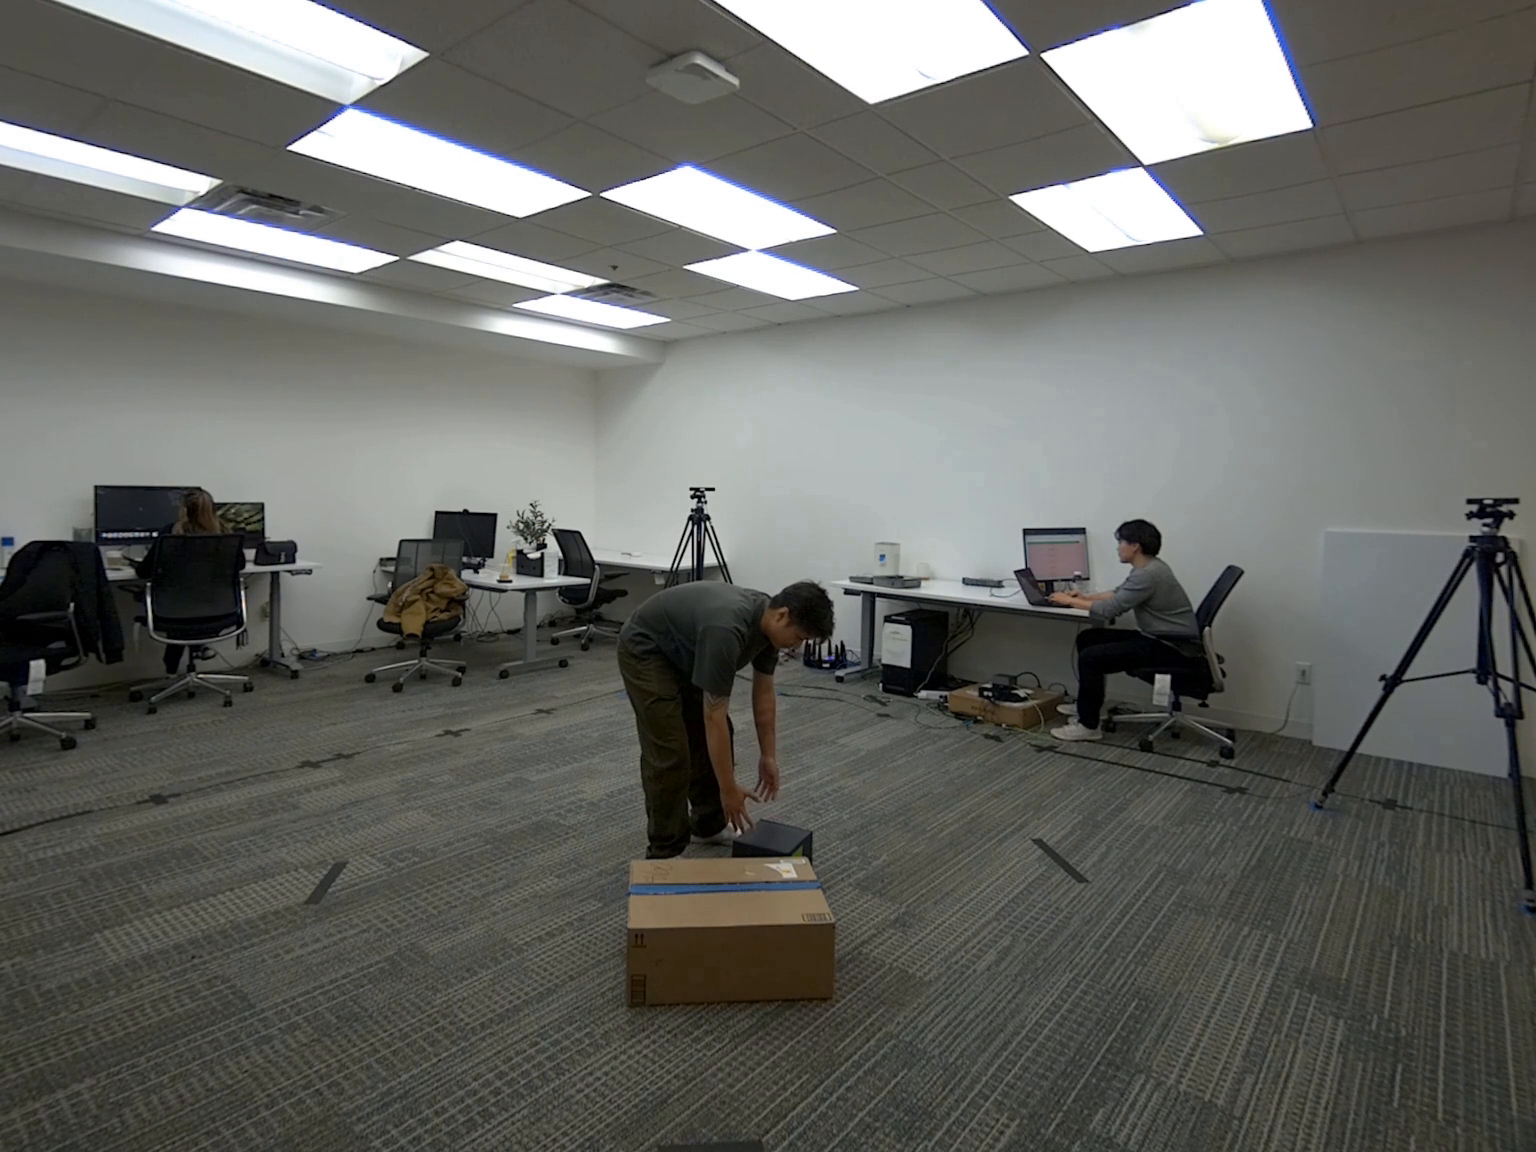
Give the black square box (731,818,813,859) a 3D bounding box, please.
[{"bbox_3d":[0.008,0.997,3.032,0.223,0.155,0.222,4,5,26],"label":"black square box"}]
